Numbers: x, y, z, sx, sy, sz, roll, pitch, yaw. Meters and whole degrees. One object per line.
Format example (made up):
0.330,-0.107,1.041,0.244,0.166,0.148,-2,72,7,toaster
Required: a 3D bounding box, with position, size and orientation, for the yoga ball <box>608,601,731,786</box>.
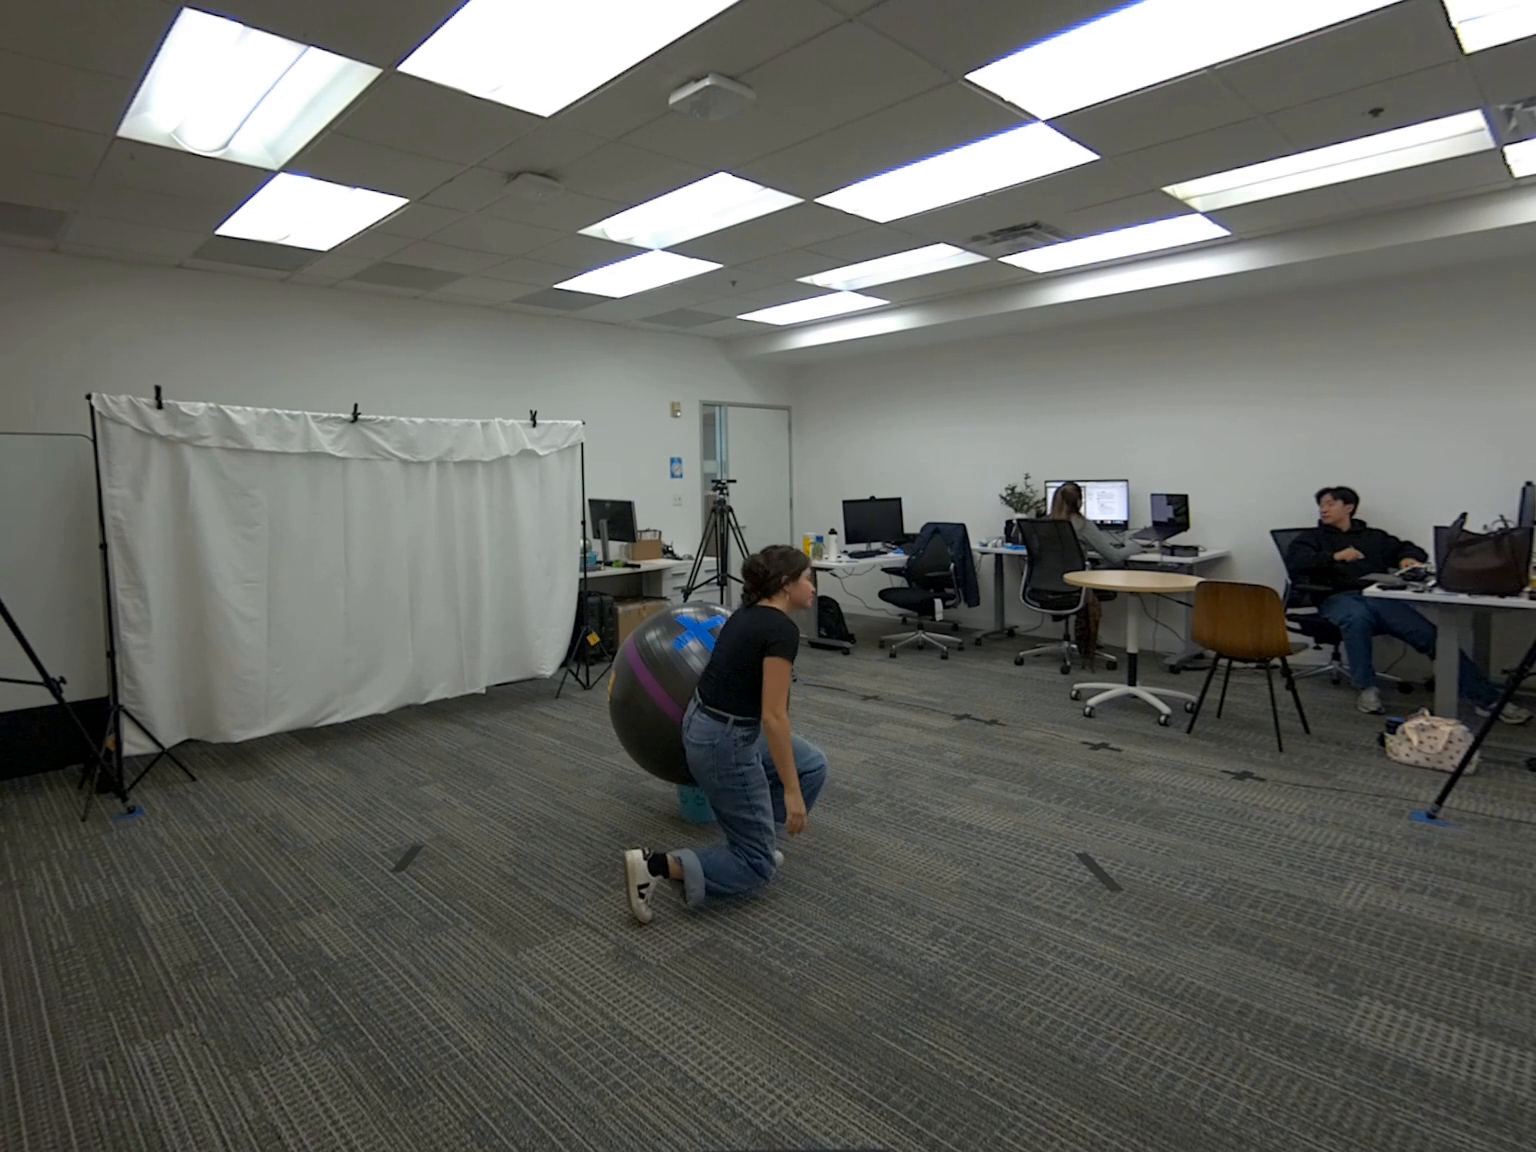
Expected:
-0.290,0.487,3.575,0.757,0.755,0.762,-1,5,-2,yoga ball
